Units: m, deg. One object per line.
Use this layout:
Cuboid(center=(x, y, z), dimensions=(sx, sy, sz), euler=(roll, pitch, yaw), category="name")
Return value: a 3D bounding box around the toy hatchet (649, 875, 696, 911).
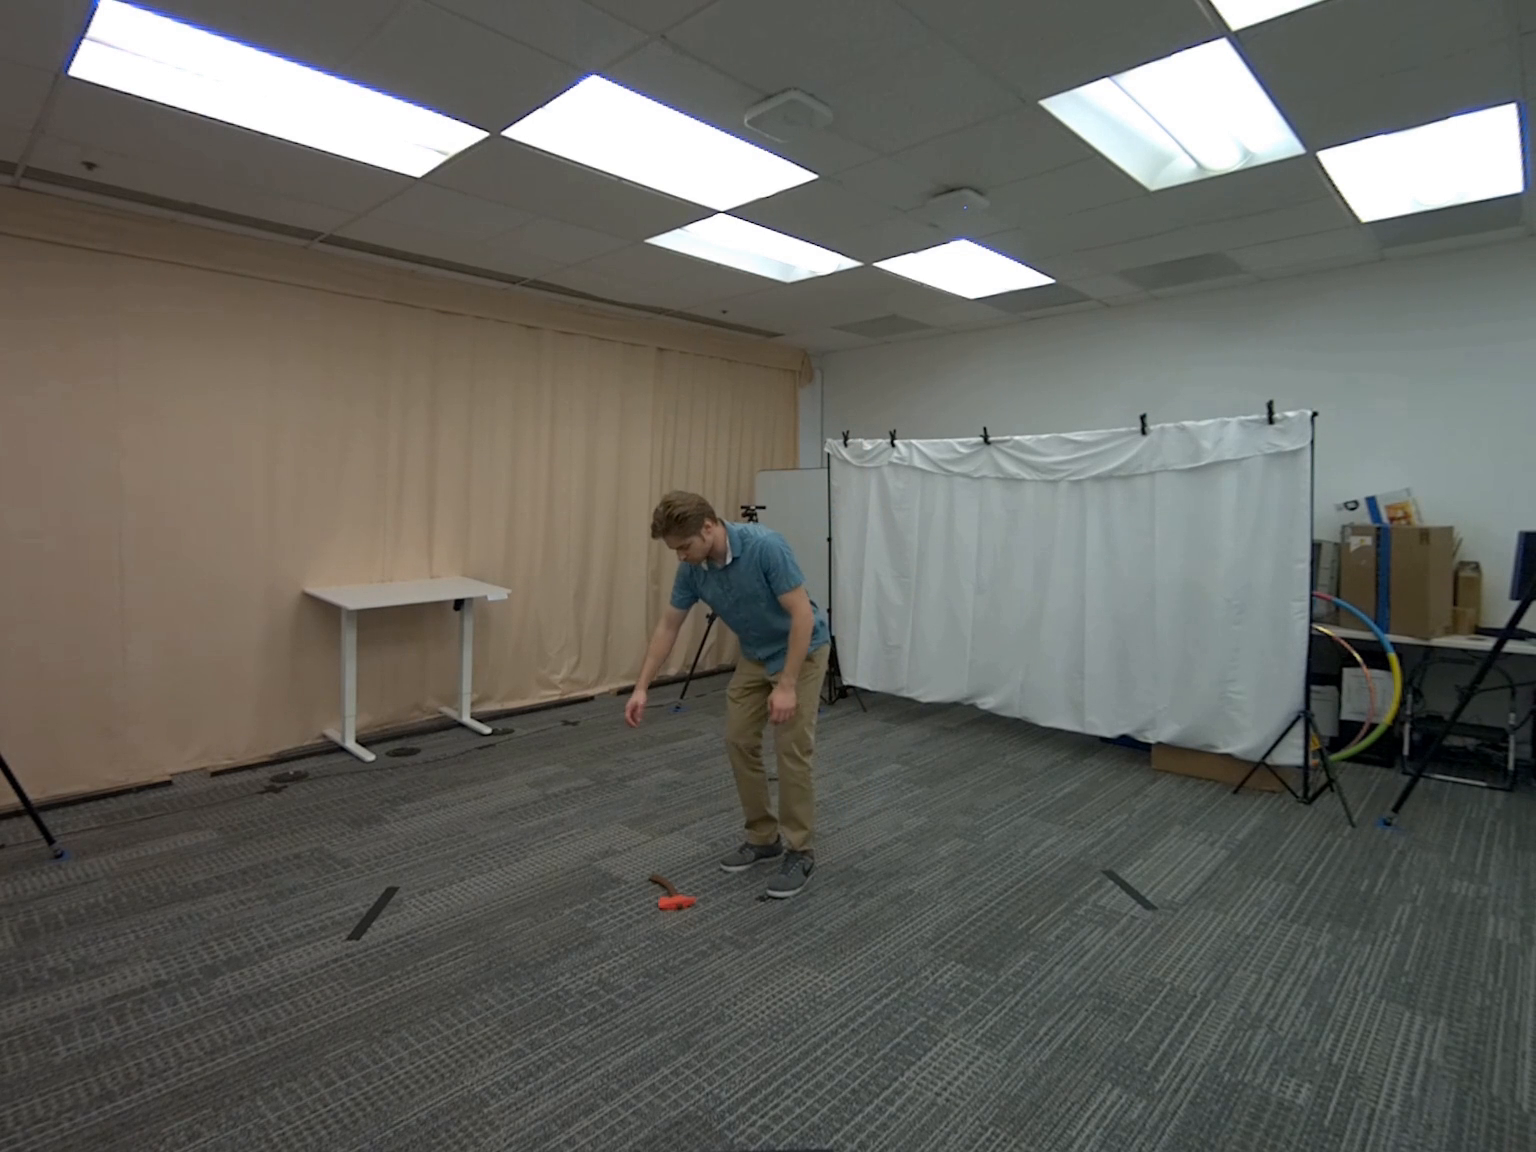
Cuboid(center=(-0.377, 1.134, 3.007), dimensions=(0.127, 0.029, 0.279), euler=(-8, 7, -38), category="toy hatchet")
